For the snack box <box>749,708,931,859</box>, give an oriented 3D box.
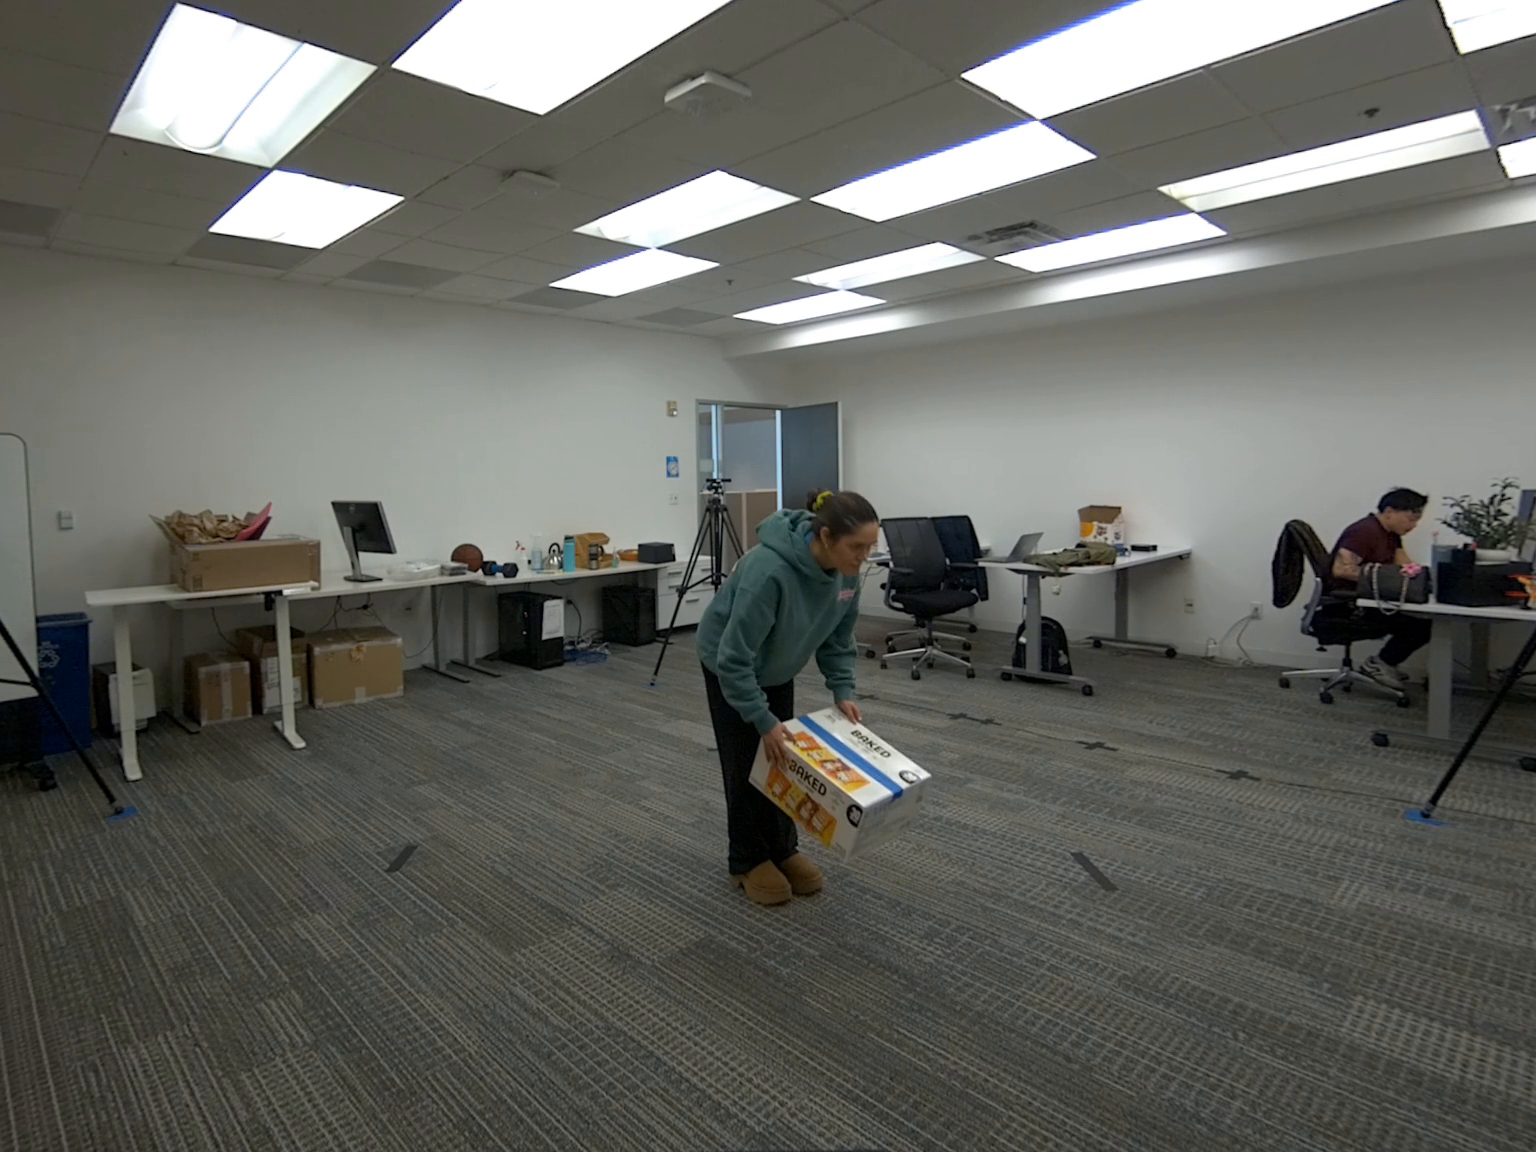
[{"bbox_3d":[0.227,0.628,2.622,0.332,0.203,0.421,-8,30,-45],"label":"snack box"}]
